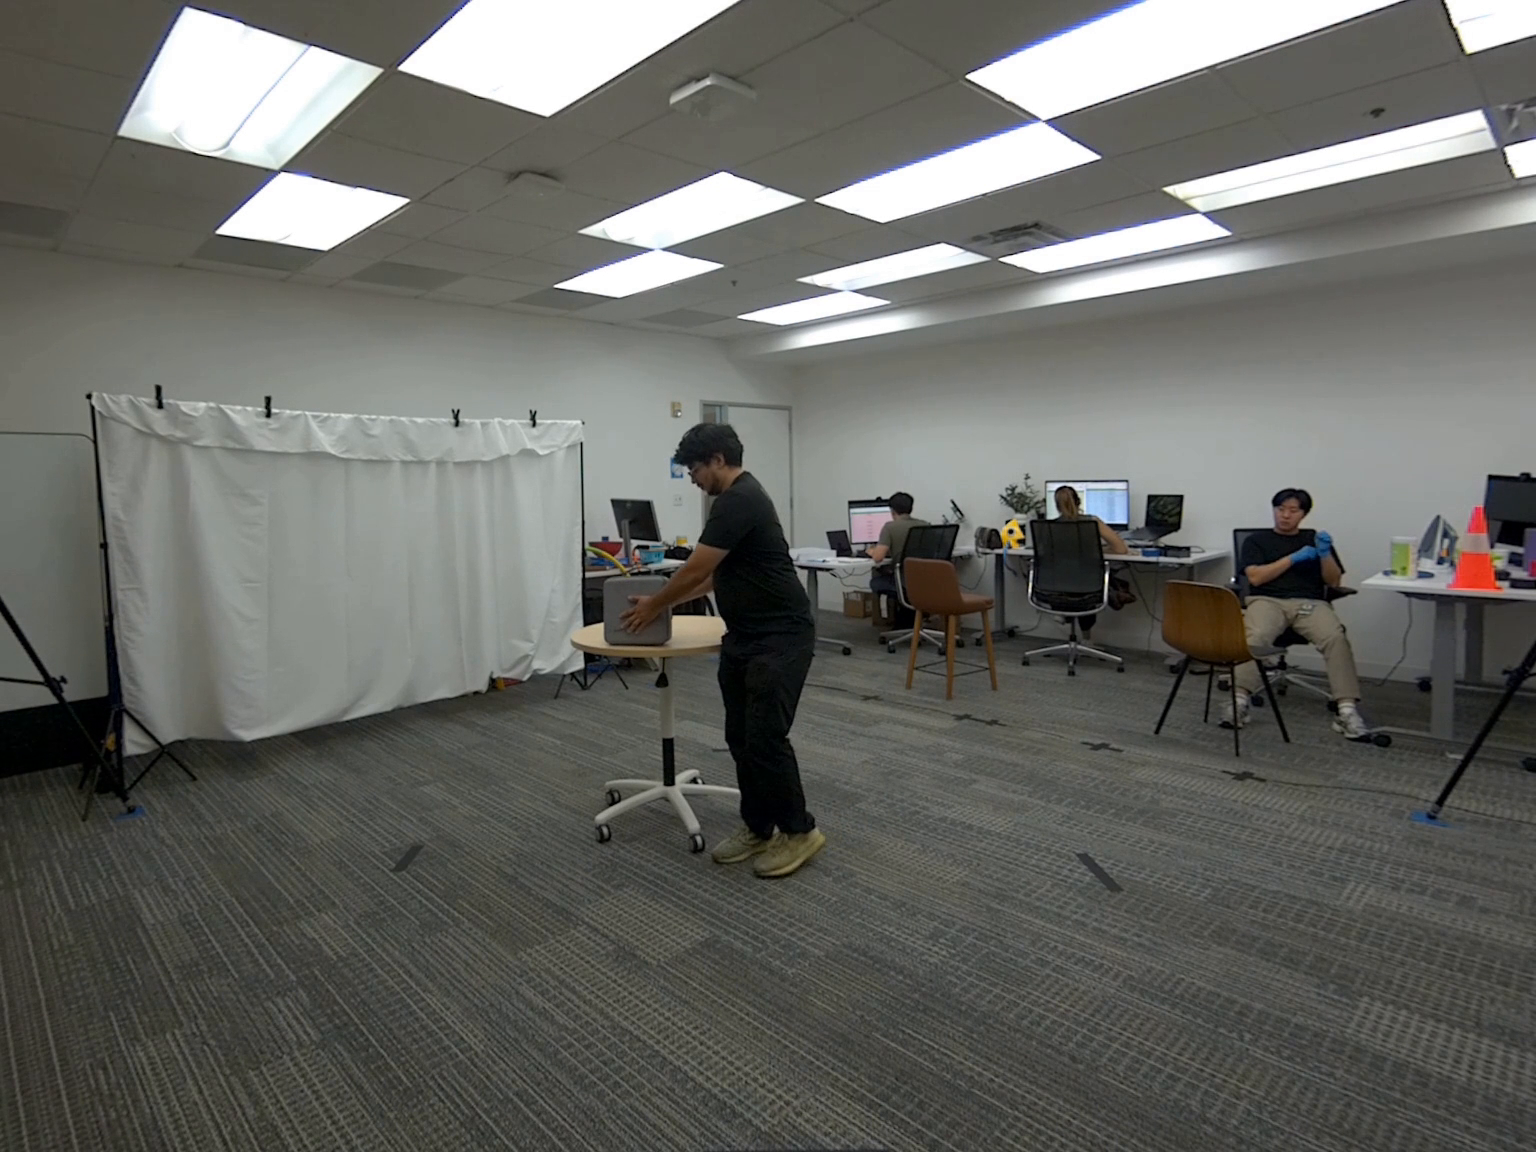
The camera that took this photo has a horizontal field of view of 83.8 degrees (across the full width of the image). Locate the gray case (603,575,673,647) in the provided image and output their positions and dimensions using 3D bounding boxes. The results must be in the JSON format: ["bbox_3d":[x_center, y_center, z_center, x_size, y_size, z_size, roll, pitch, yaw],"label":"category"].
[{"bbox_3d":[-0.500,0.128,3.261,0.259,0.263,0.102,-2,-9,10],"label":"gray case"}]
